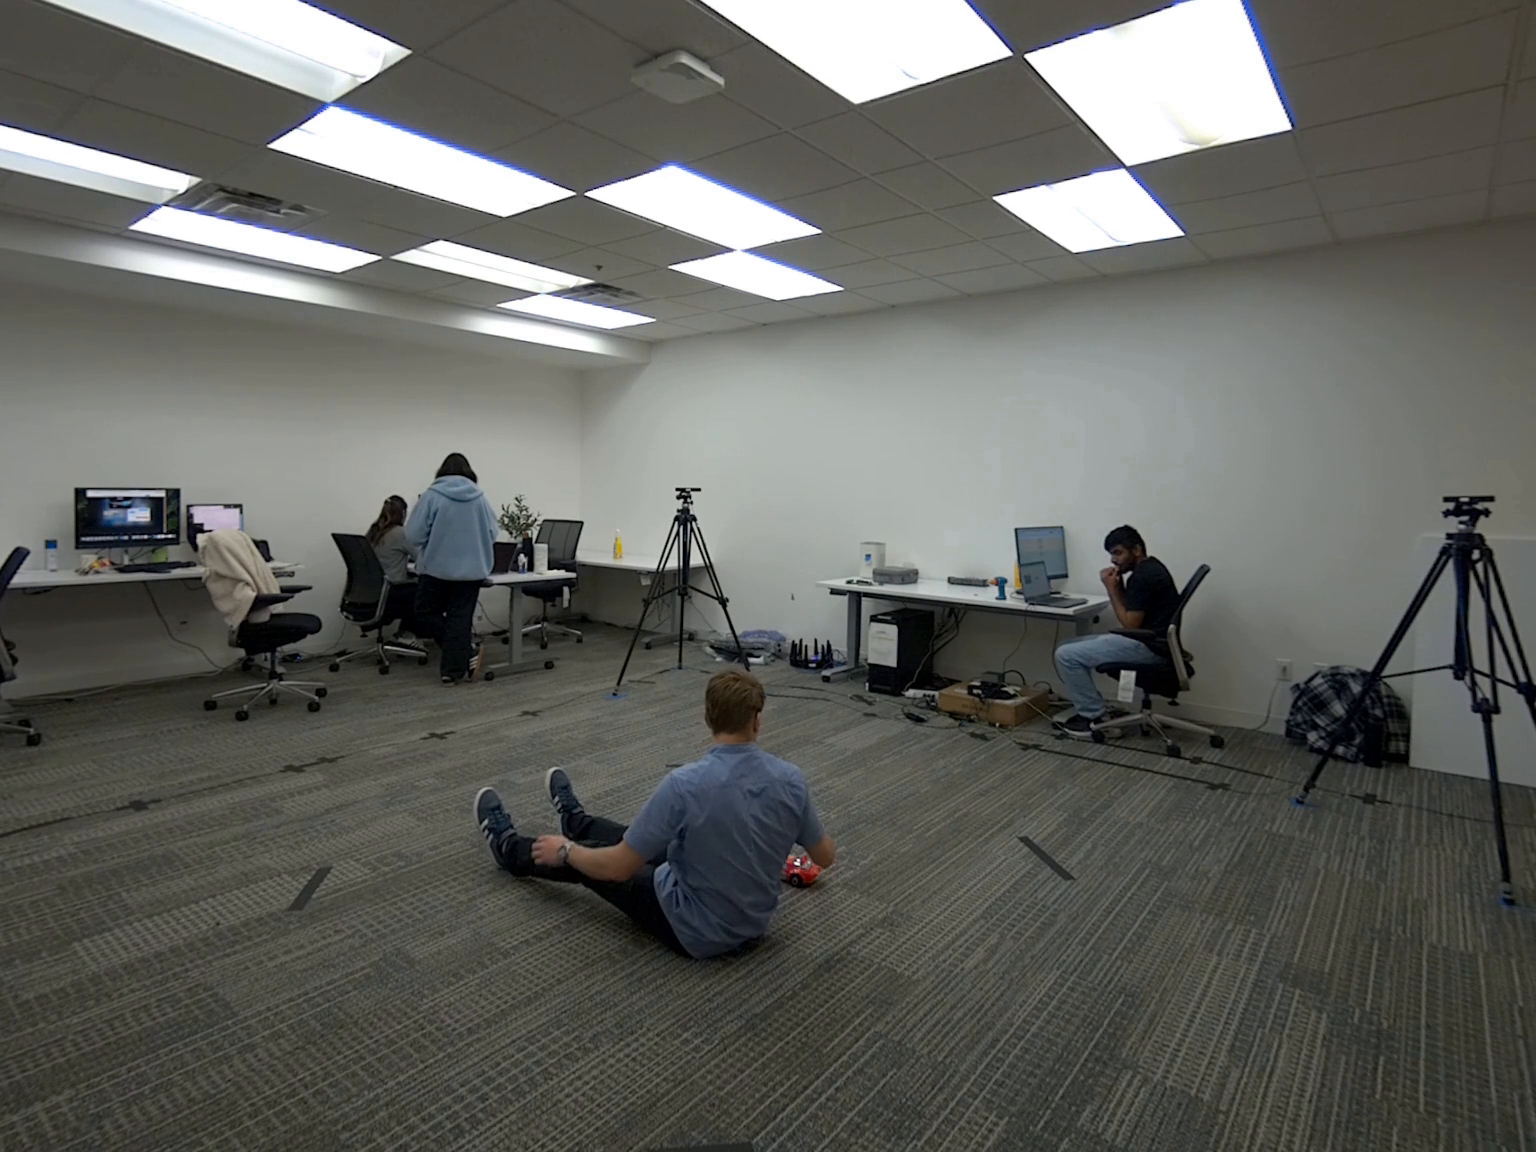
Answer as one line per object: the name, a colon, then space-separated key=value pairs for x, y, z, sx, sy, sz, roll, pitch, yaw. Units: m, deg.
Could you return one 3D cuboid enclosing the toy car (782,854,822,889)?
toy car: x=0.068 y=1.050 z=3.048 sx=0.260 sy=0.083 sz=0.127 roll=-8 pitch=0 yaw=24
